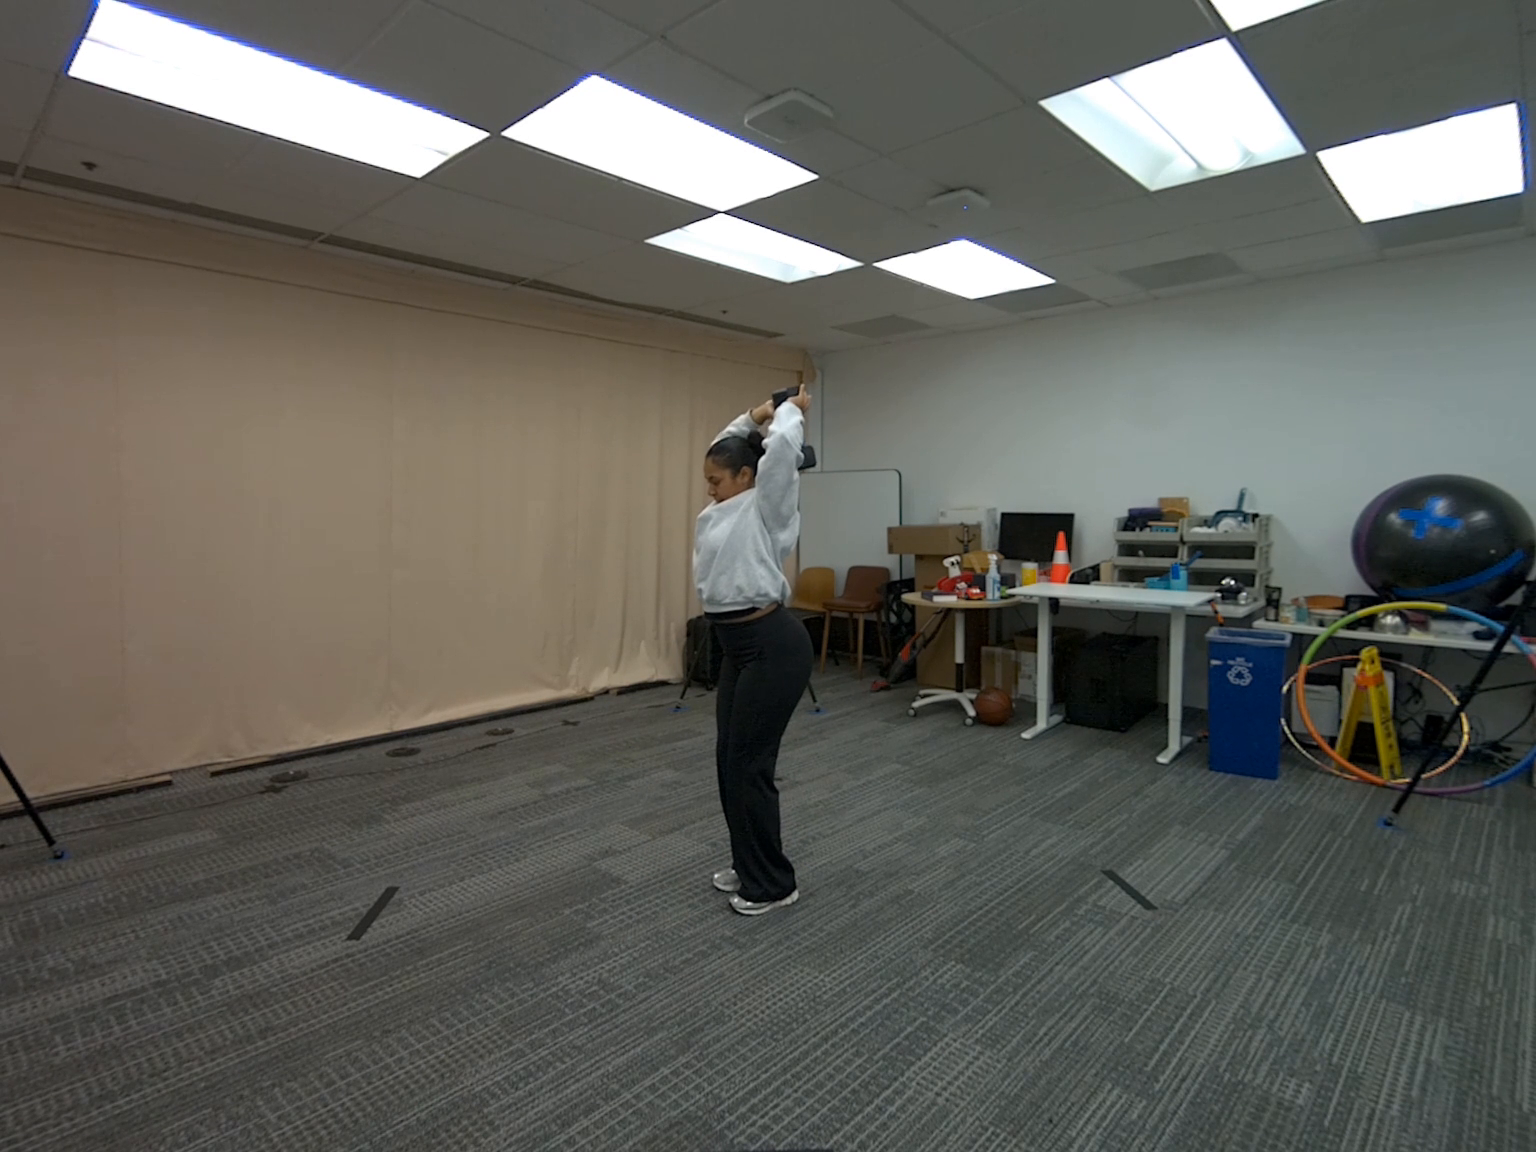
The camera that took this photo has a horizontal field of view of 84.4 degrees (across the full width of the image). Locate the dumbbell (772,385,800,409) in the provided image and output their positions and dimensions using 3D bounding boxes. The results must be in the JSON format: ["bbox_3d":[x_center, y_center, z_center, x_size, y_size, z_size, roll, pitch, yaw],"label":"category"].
[{"bbox_3d":[0.099,-0.525,2.980,0.126,0.291,0.107,-6,11,31],"label":"dumbbell"}]
